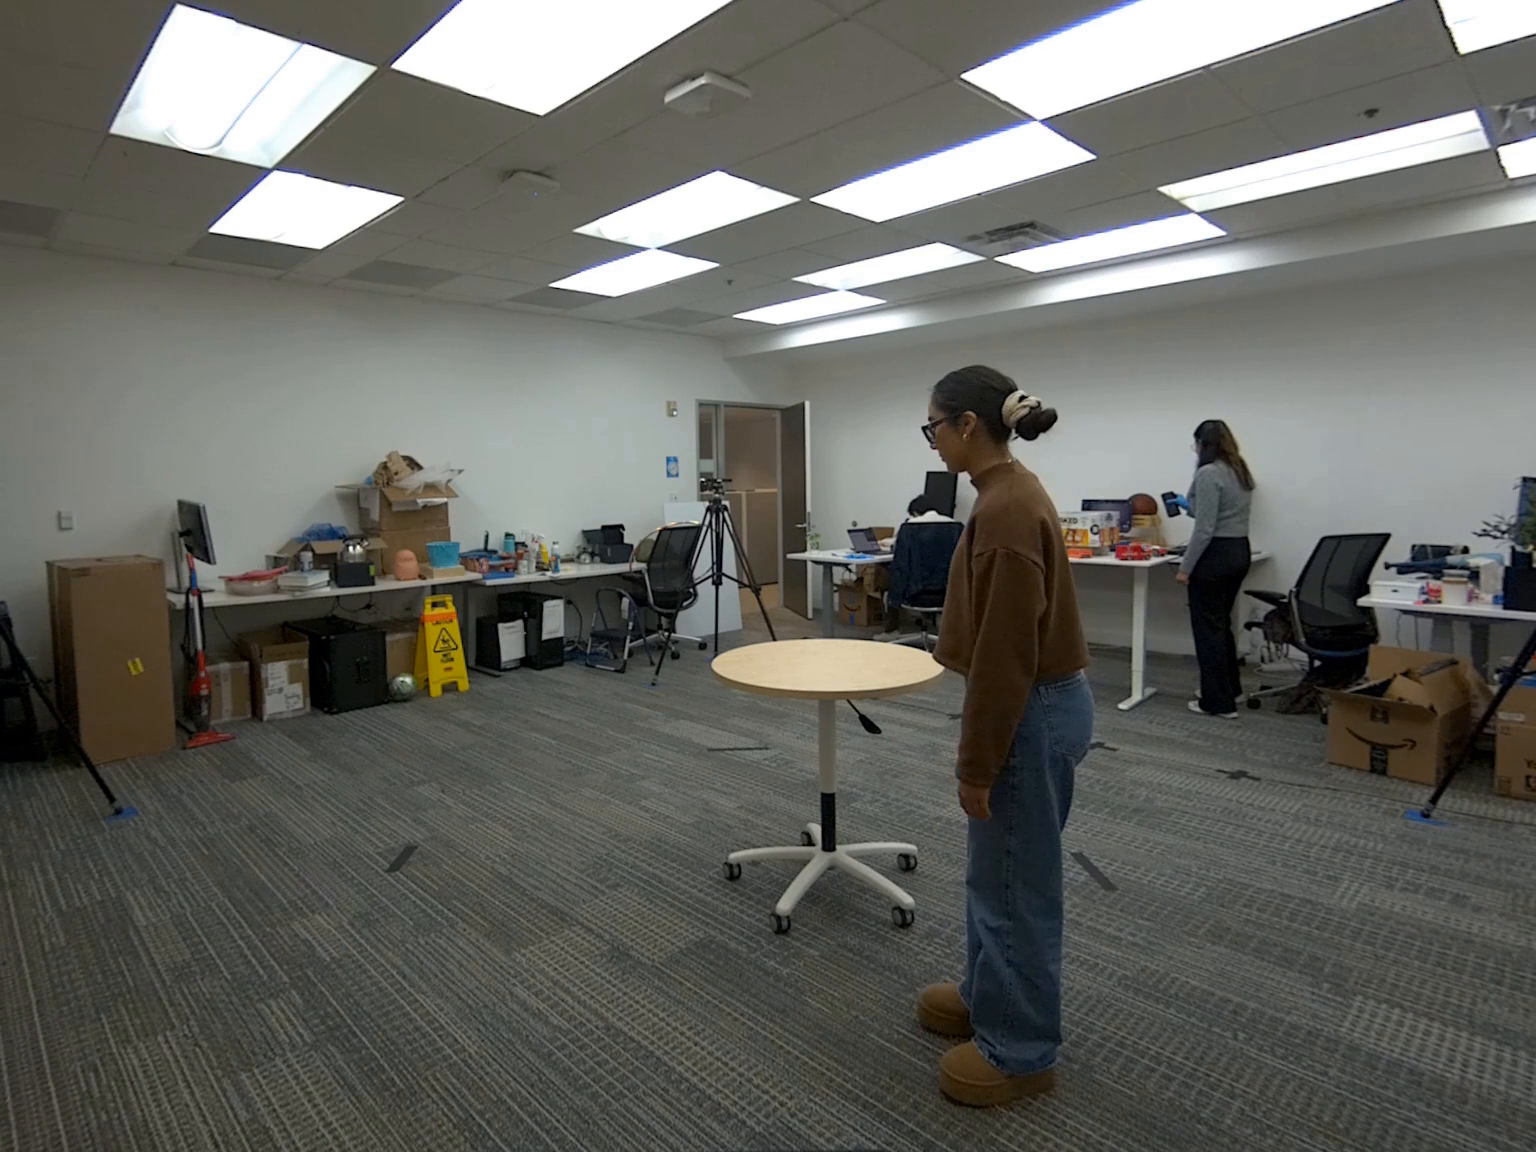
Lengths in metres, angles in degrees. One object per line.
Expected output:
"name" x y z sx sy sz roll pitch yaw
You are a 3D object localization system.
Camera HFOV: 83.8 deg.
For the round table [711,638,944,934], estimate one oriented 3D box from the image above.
"round table" 0.208 0.680 2.874 0.763 0.790 0.768 -1 6 -2
